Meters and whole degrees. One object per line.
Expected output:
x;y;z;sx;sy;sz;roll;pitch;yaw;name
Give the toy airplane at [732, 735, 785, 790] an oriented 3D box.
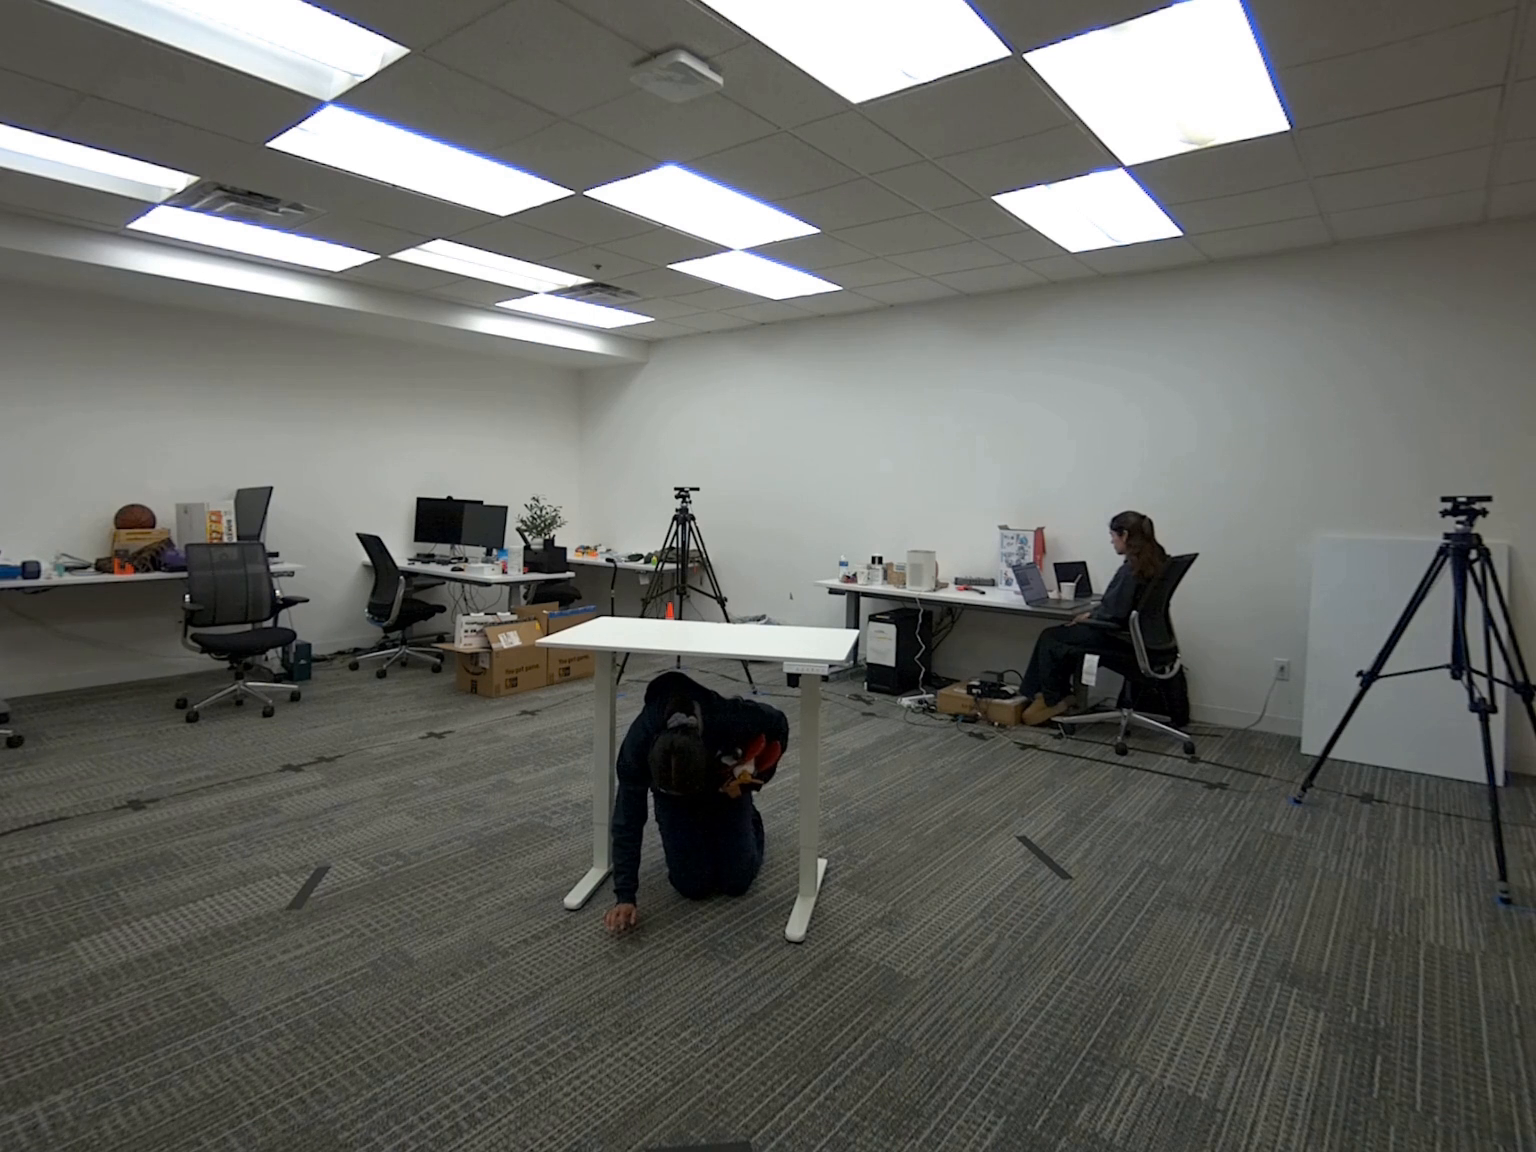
-0.087;0.584;2.944;0.152;0.261;0.257;45;-32;-23;toy airplane
